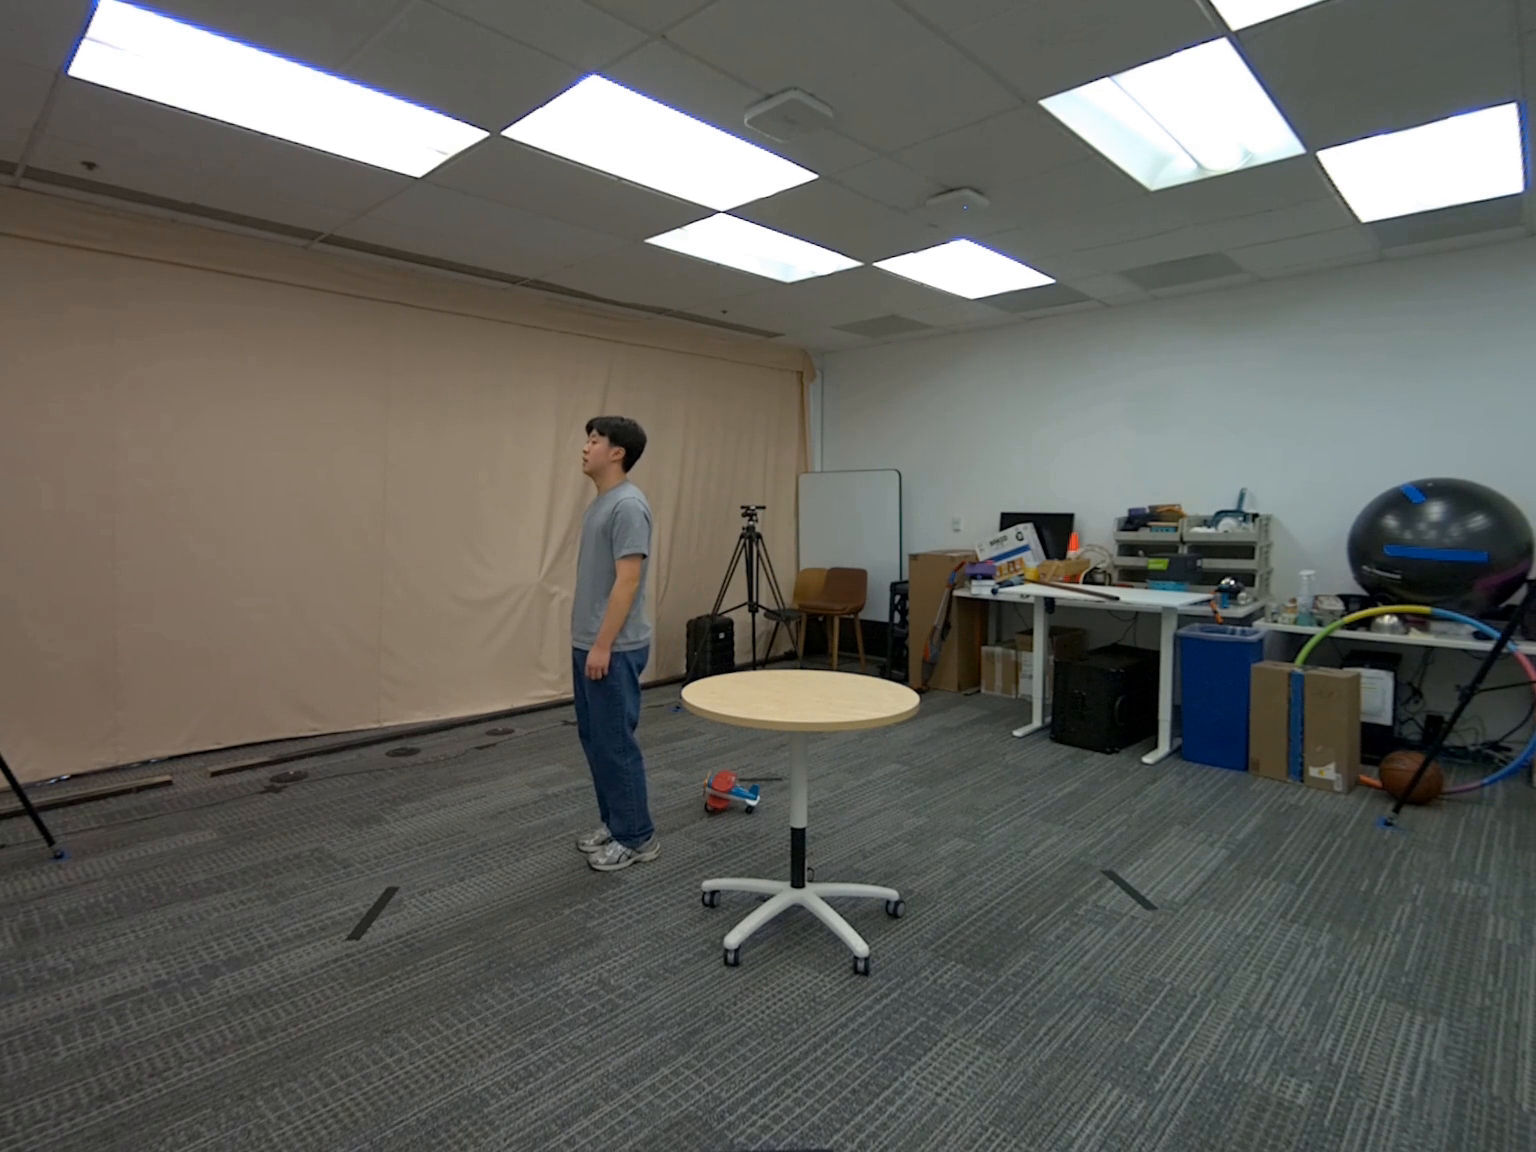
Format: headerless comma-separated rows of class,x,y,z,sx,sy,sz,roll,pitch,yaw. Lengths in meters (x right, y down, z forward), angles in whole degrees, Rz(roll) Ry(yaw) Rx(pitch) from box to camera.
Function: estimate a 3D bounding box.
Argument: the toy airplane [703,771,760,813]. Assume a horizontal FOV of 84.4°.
toy airplane,-0.172,0.999,3.875,0.255,0.156,0.256,-2,4,-16
